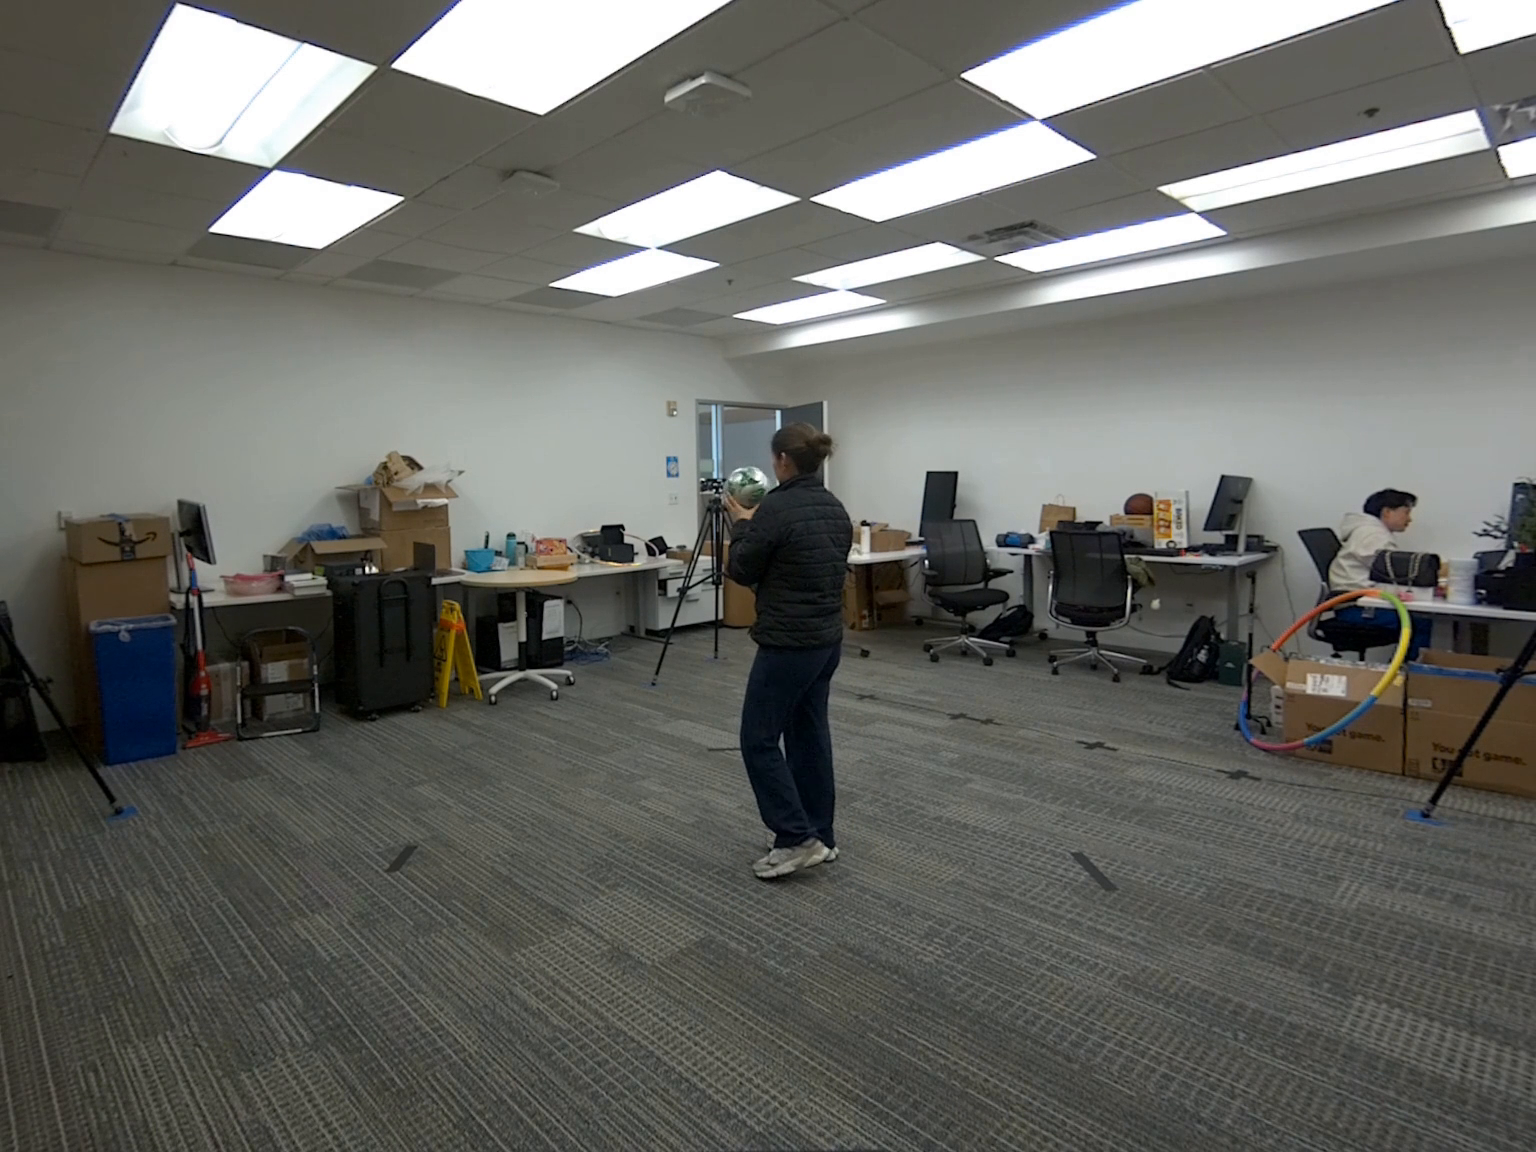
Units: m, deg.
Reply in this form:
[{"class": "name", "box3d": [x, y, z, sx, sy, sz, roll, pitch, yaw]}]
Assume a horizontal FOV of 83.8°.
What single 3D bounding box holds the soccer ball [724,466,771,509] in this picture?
[{"class": "soccer ball", "box3d": [-0.079, -0.321, 3.305, 0.187, 0.187, 0.188, -1, 5, -2]}]
